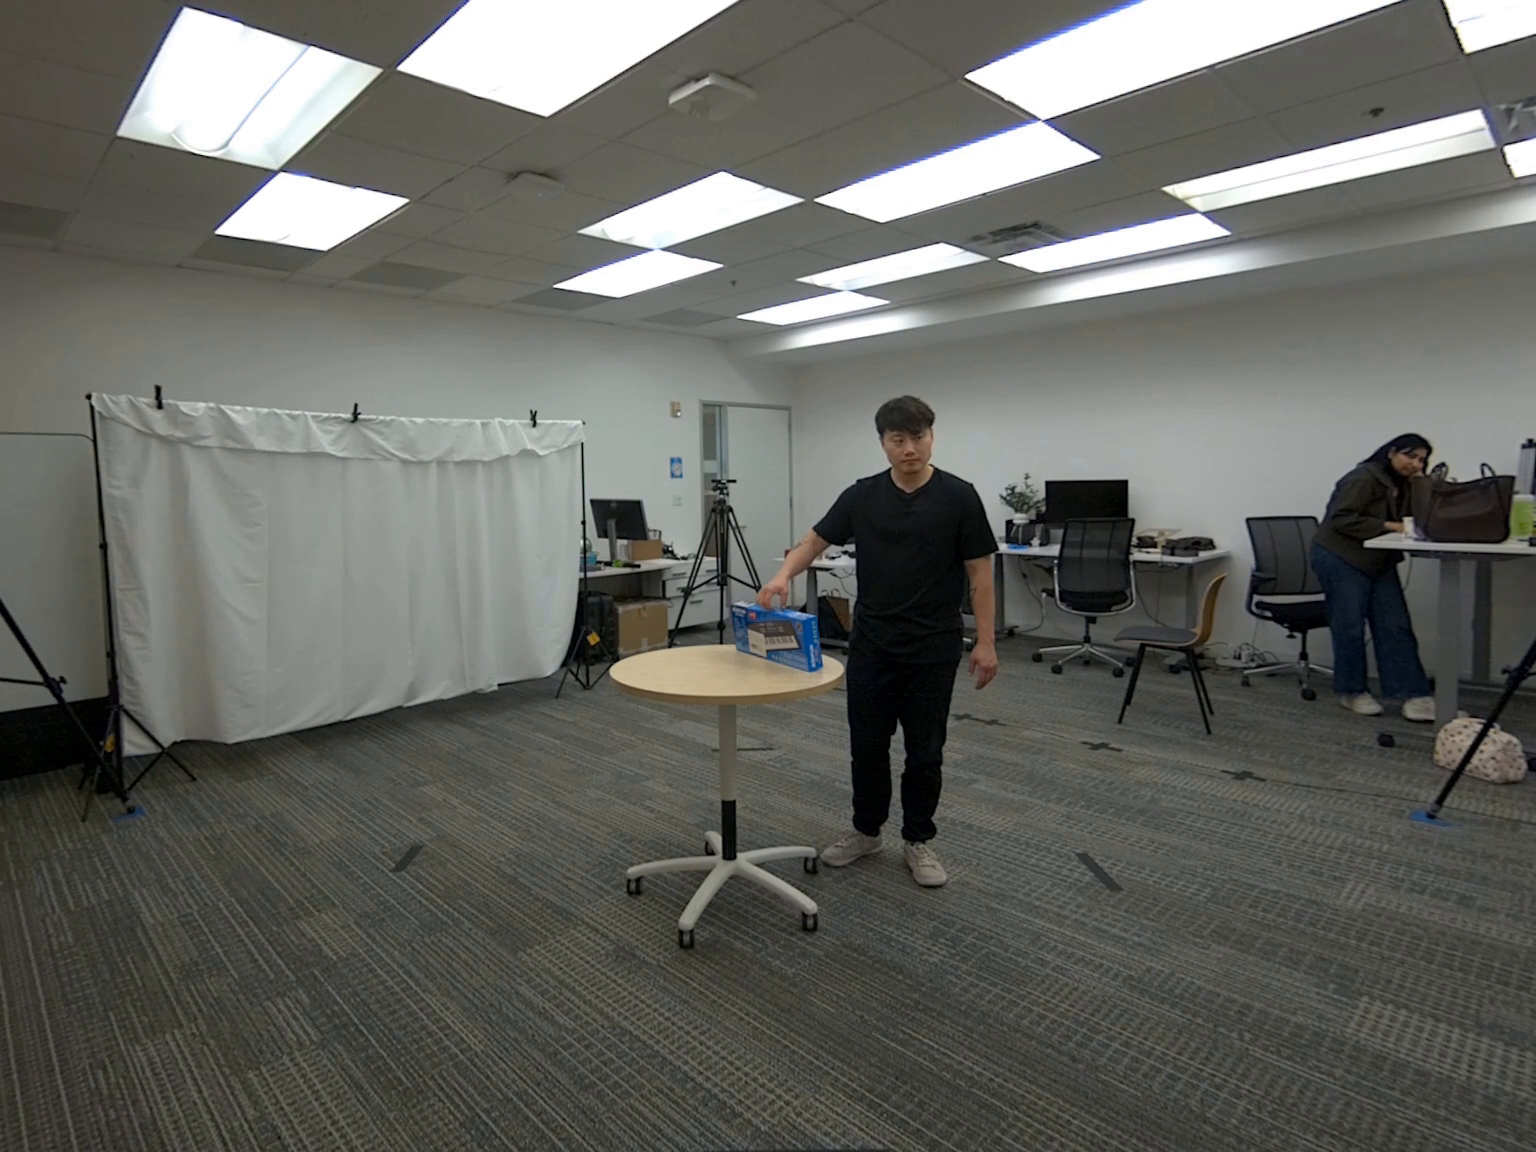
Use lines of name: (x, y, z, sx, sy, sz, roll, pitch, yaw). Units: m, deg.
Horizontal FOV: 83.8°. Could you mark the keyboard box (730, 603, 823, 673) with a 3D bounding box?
keyboard box: (0.026, 0.199, 2.900, 0.058, 0.174, 0.449, -10, 10, -32)
